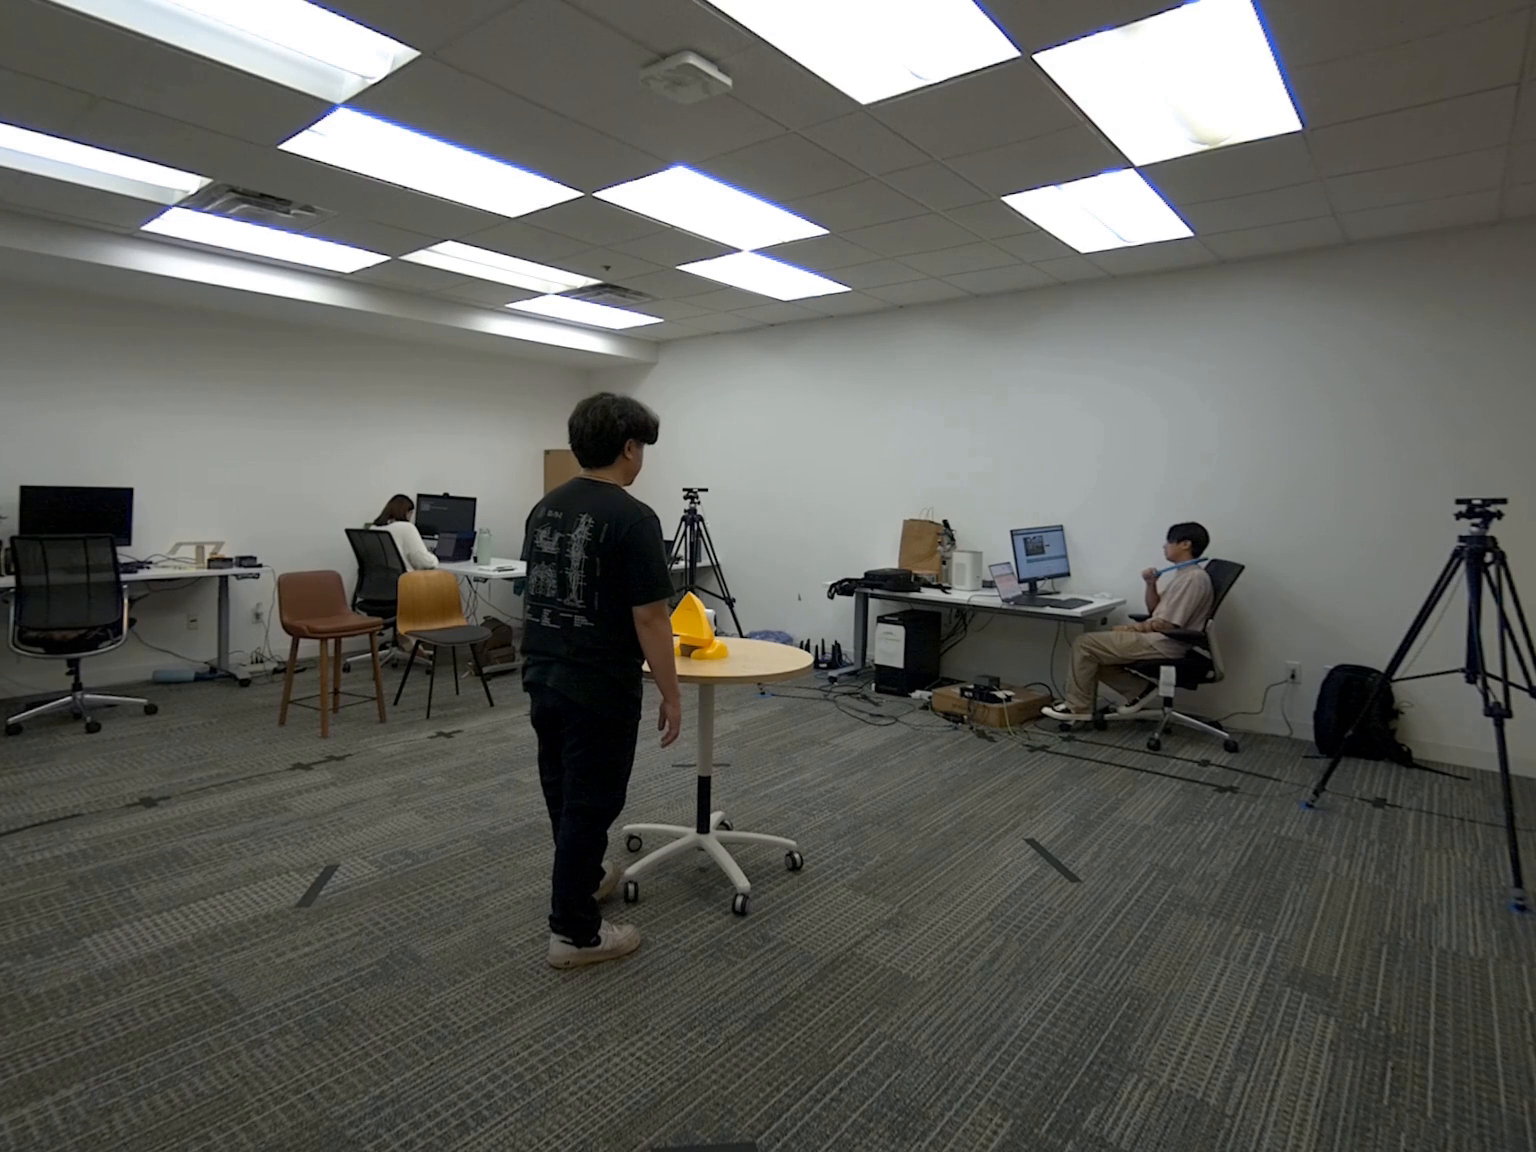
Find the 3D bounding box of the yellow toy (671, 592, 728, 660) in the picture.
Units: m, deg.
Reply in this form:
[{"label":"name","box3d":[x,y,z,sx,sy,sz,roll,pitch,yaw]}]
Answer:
[{"label":"yellow toy","box3d":[-0.256,0.164,3.057,0.211,0.230,0.187,4,4,37]}]
